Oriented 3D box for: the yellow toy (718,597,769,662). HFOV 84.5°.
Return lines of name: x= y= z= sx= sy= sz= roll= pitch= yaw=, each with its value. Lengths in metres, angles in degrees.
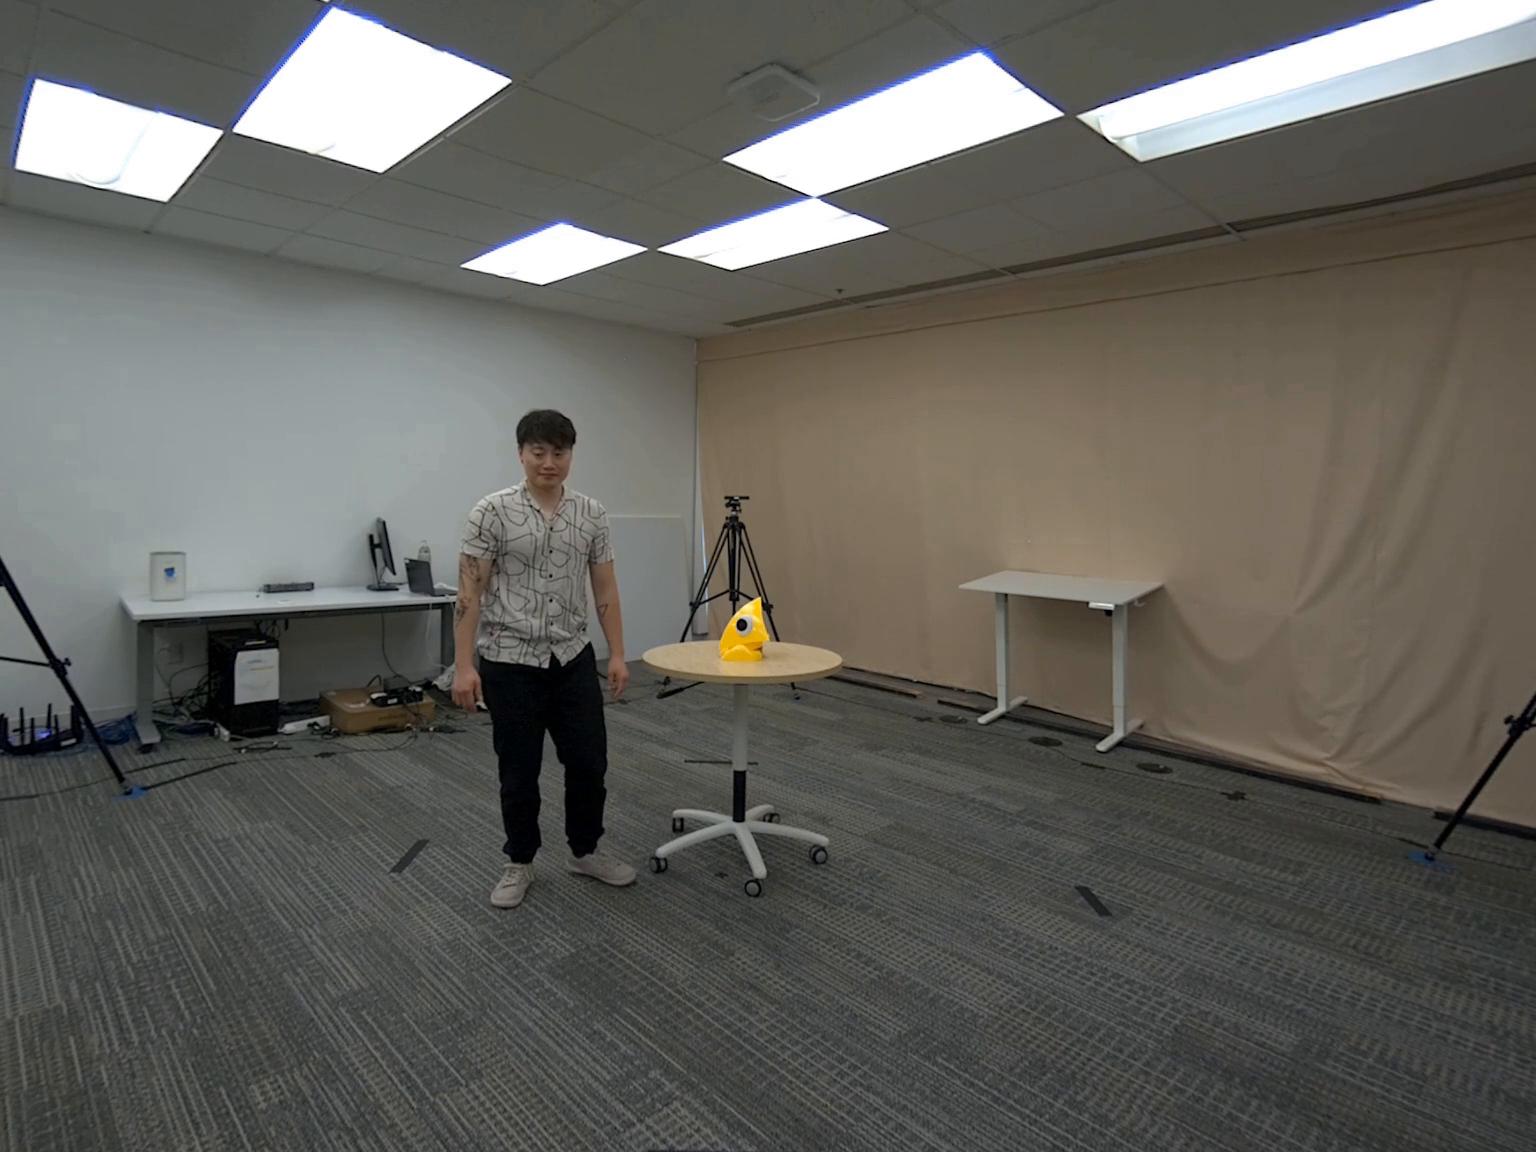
yellow toy: x=-0.099 y=0.198 z=3.226 sx=0.193 sy=0.230 sz=0.206 roll=1 pitch=3 yaw=-3
